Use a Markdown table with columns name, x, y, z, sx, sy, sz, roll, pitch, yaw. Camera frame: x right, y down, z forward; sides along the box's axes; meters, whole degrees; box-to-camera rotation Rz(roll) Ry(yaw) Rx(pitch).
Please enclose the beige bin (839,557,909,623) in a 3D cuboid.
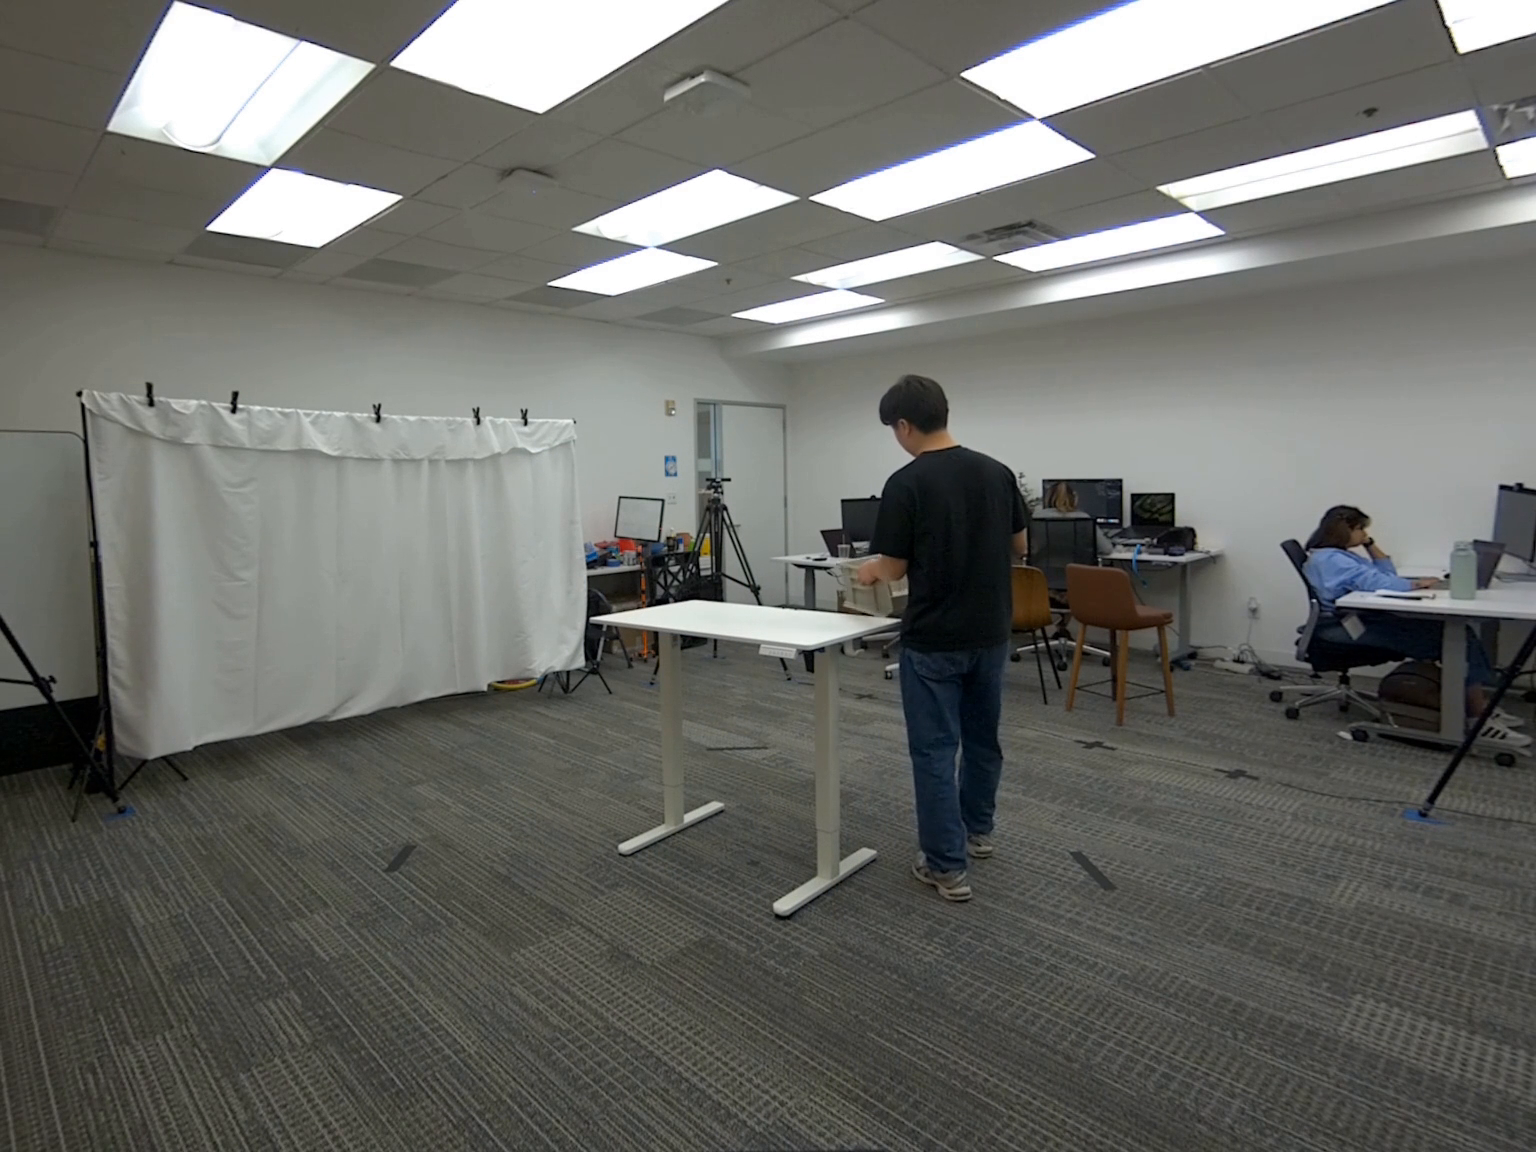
| name | x | y | z | sx | sy | sz | roll | pitch | yaw |
| --- | --- | --- | --- | --- | --- | --- | --- | --- | --- |
| beige bin | 0.566 | 0.021 | 3.354 | 0.415 | 0.188 | 0.386 | -10 | 8 | -22 |
